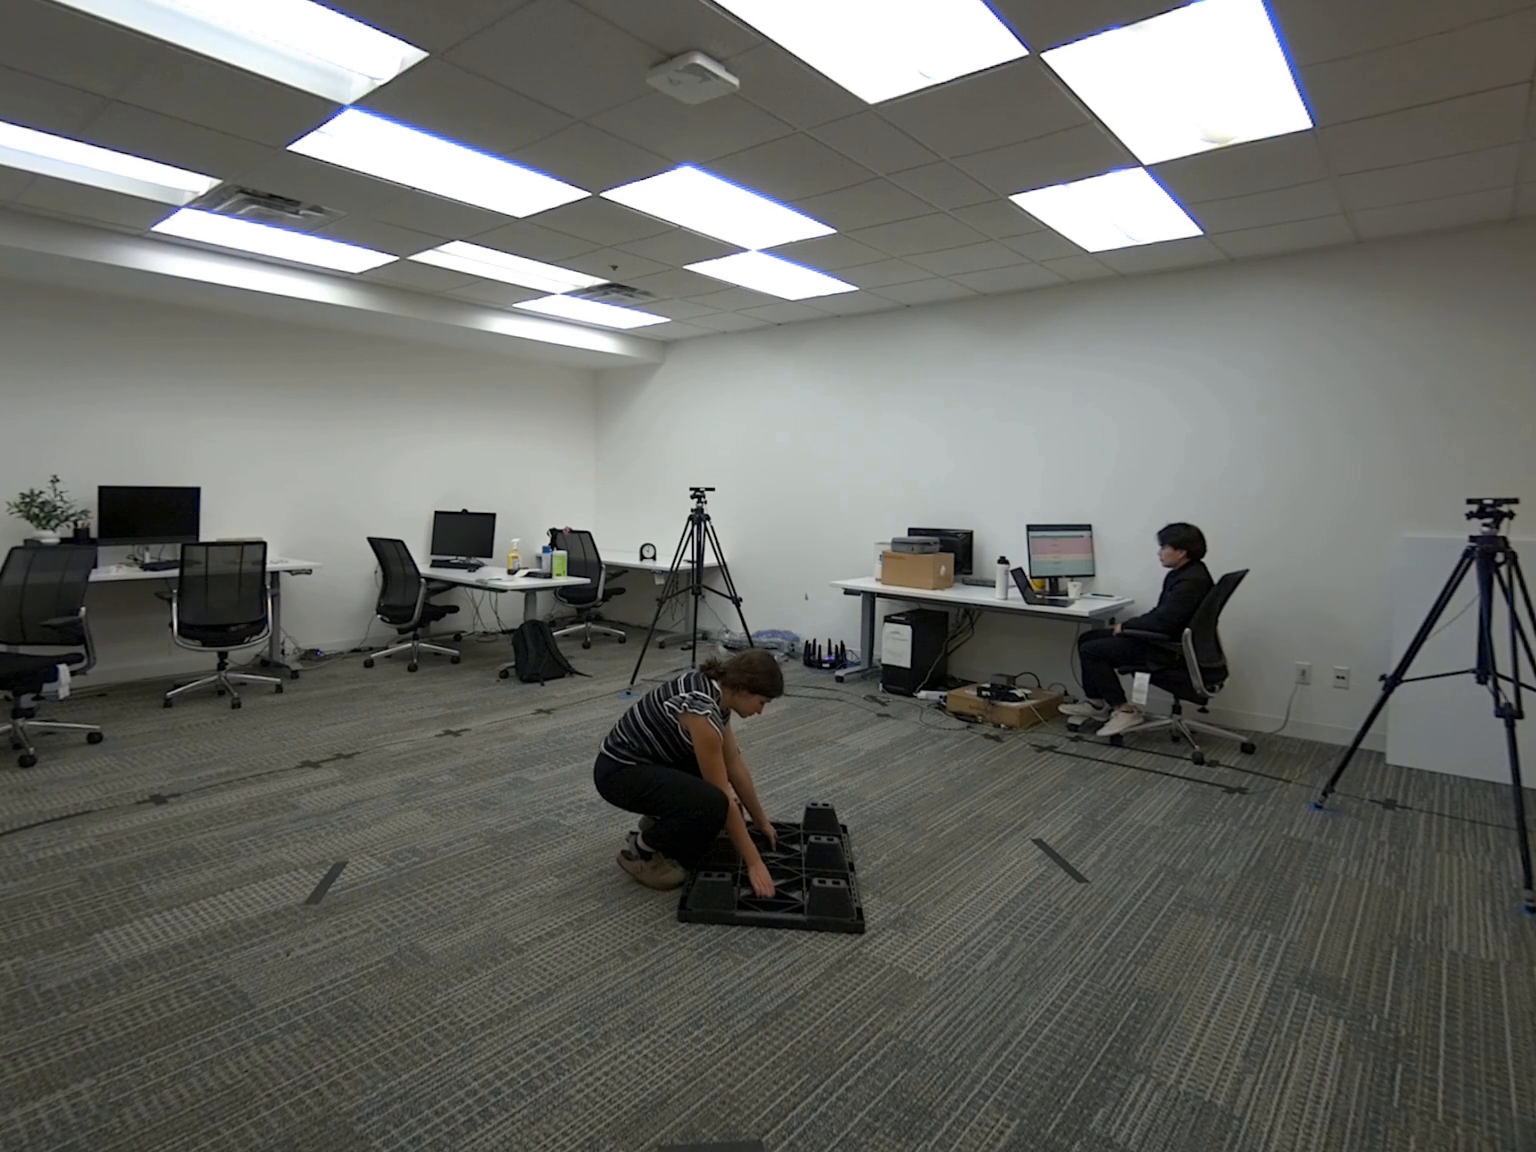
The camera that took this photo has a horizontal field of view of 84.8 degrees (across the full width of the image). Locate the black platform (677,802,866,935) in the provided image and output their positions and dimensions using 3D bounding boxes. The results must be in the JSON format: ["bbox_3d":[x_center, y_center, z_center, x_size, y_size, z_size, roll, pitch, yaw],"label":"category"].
[{"bbox_3d":[0.013,1.002,3.077,0.607,0.143,0.806,1,5,2],"label":"black platform"}]
